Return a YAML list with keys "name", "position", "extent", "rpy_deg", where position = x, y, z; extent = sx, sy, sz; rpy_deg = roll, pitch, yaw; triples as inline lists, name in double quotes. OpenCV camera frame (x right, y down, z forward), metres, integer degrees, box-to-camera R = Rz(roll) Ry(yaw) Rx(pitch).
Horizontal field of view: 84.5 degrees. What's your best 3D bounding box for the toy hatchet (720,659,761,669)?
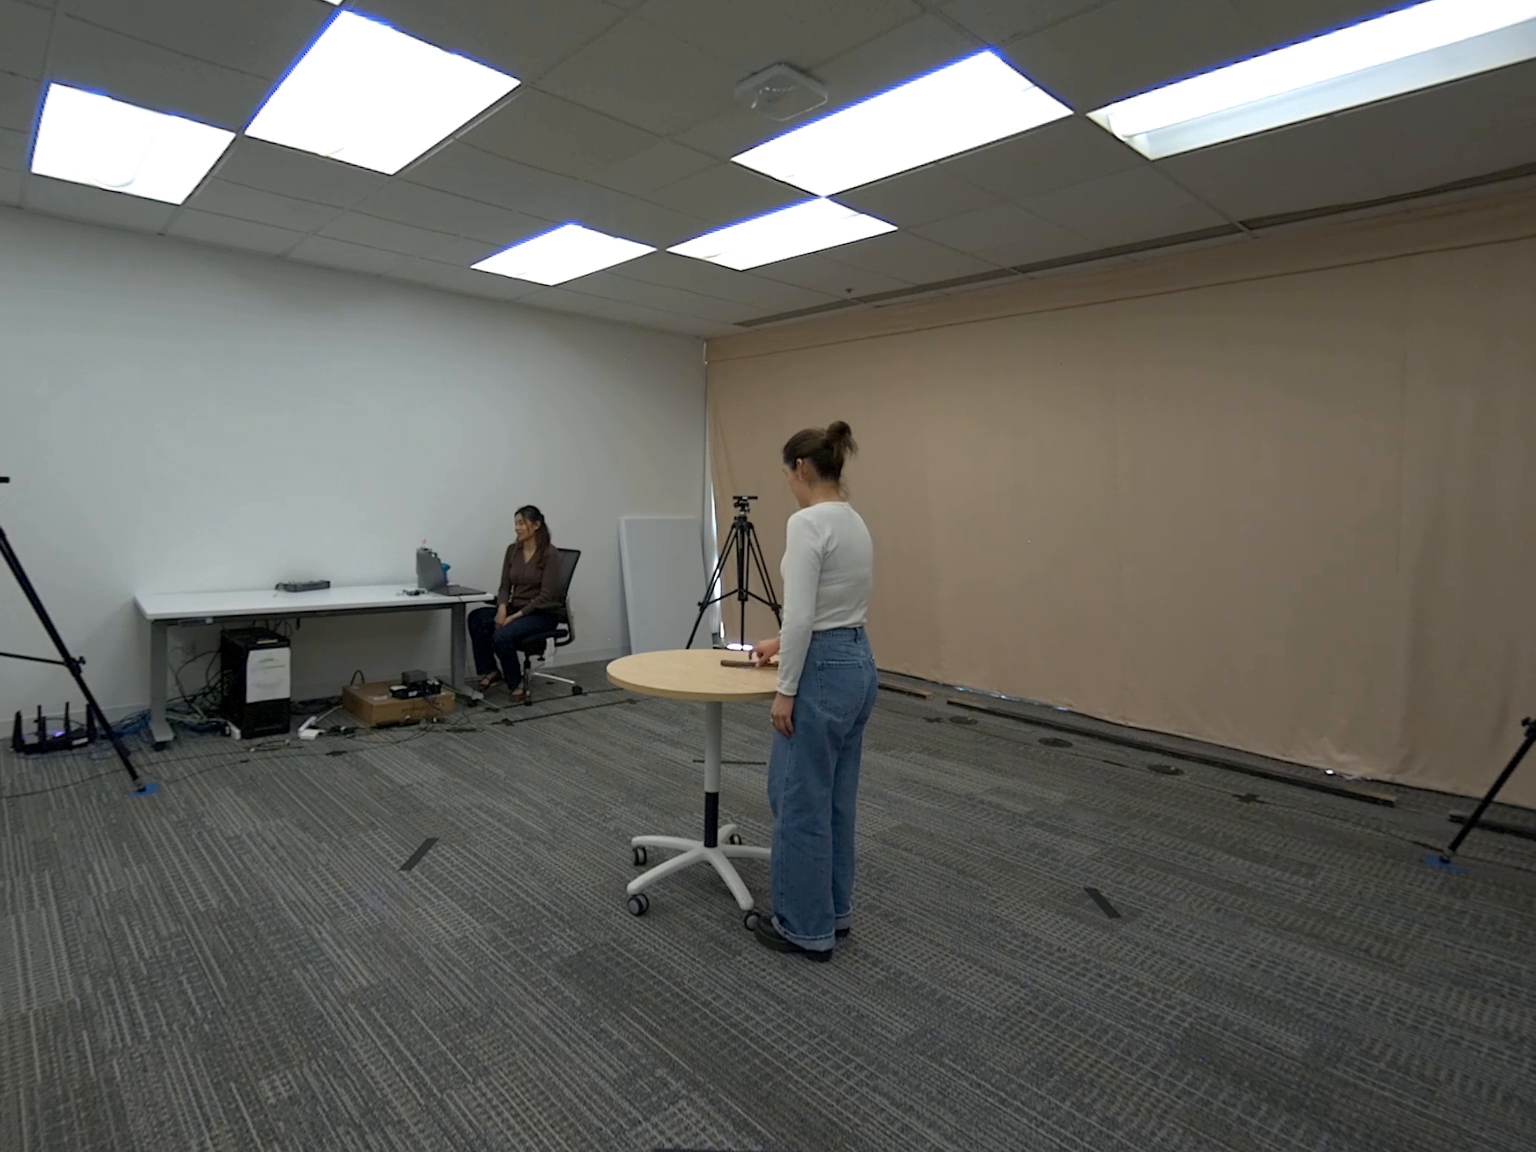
- name: "toy hatchet"
  position: [-0.046, 0.318, 3.046]
  extent: [0.275, 0.029, 0.129]
  rpy_deg: [5, 5, 24]
